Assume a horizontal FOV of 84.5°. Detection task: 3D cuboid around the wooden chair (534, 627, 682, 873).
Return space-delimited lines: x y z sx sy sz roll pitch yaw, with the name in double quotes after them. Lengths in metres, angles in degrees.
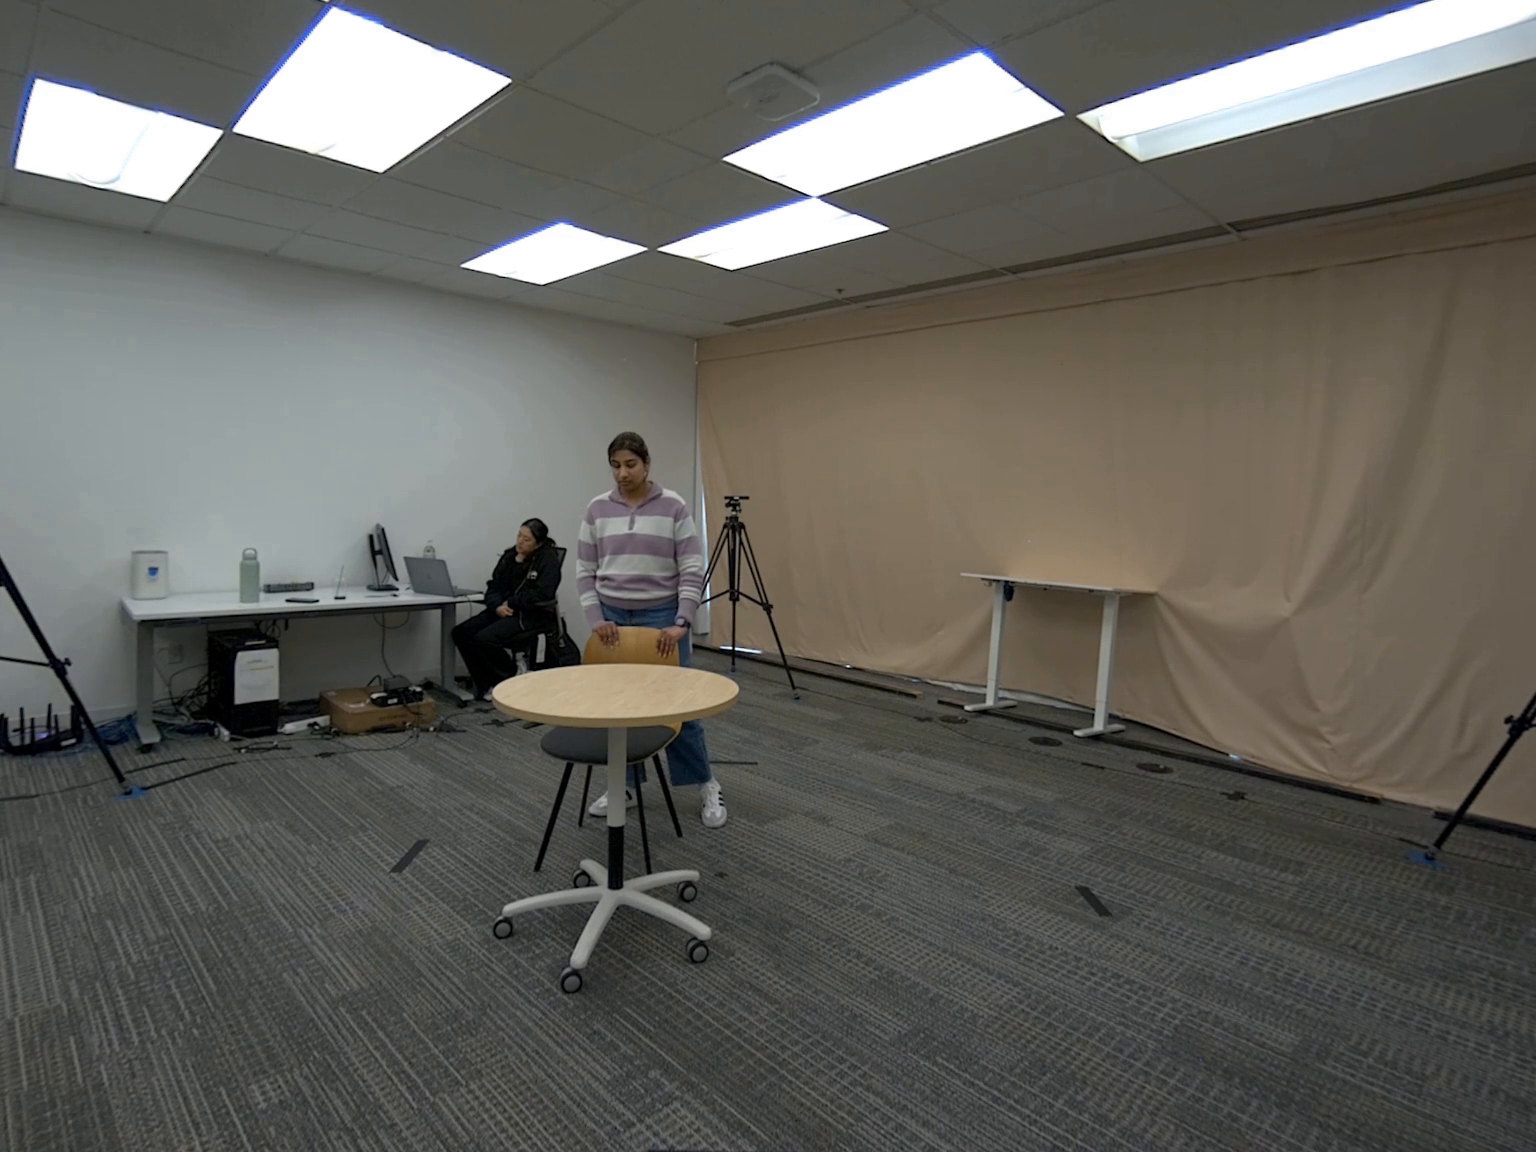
-0.601 0.657 3.235 0.482 0.878 0.518 2 0 10 "wooden chair"
